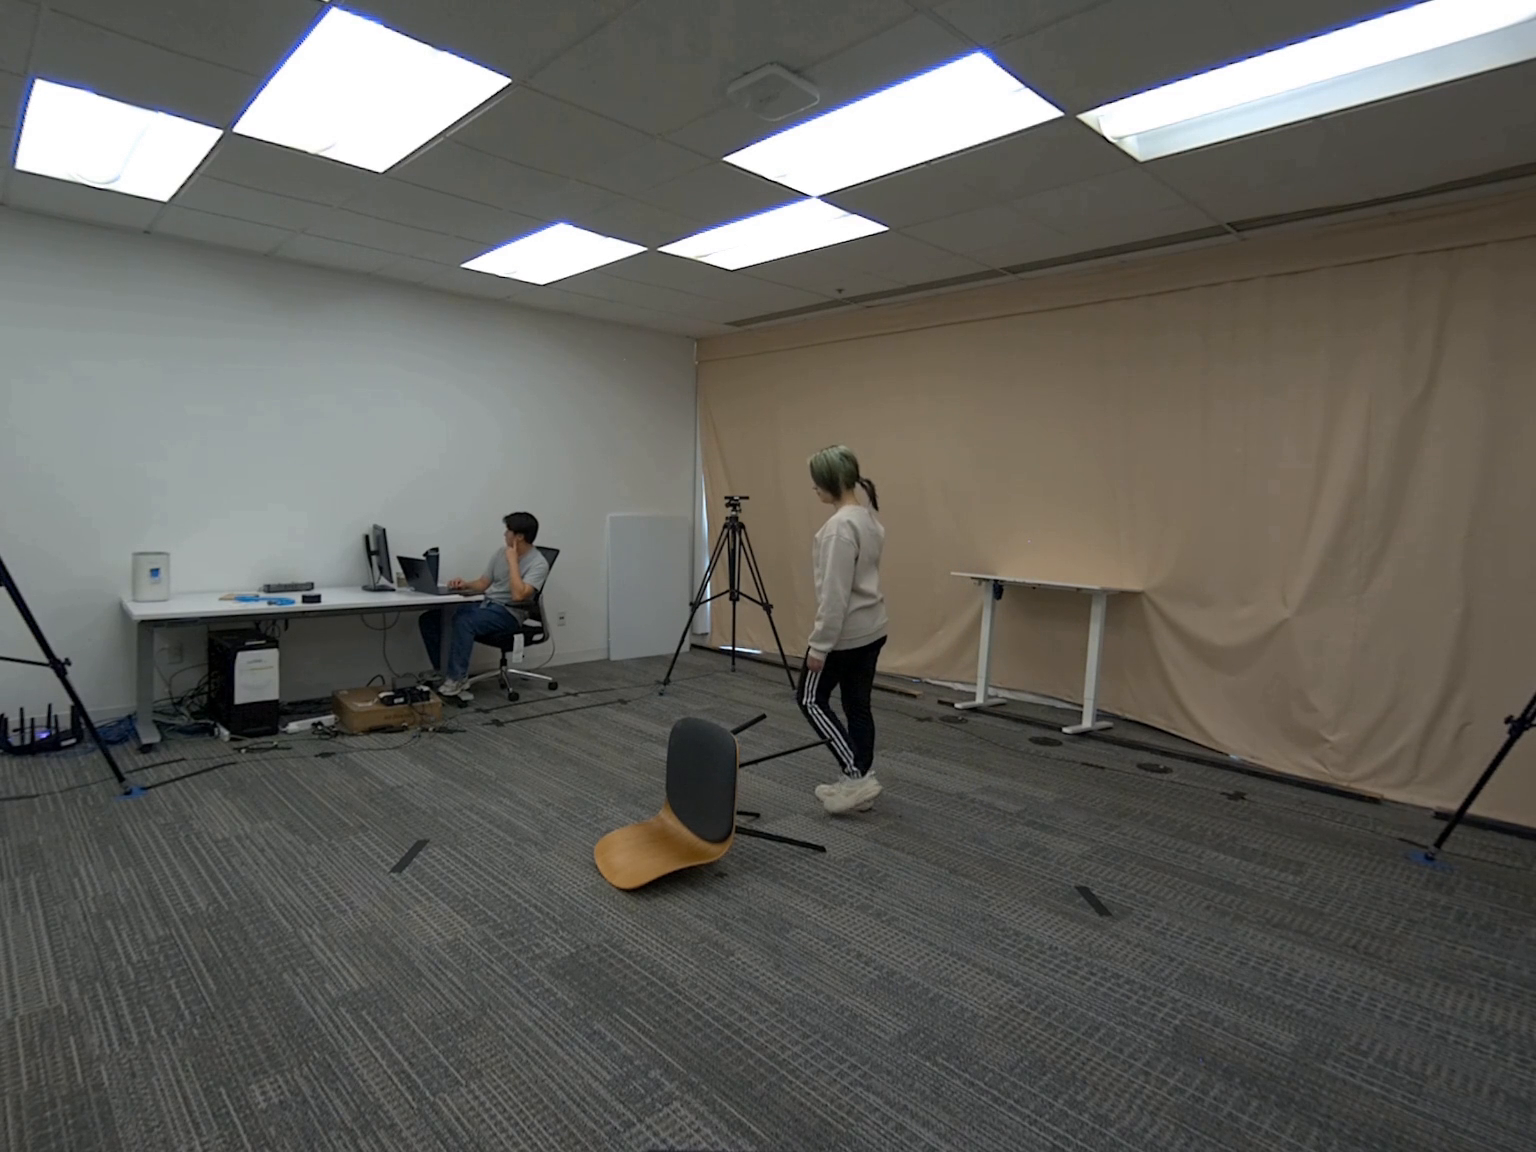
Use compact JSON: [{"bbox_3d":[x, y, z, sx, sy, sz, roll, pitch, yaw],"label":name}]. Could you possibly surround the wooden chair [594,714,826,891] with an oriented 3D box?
[{"bbox_3d":[-0.233,0.831,3.264,0.859,0.521,0.490,-4,6,-36],"label":"wooden chair"}]
